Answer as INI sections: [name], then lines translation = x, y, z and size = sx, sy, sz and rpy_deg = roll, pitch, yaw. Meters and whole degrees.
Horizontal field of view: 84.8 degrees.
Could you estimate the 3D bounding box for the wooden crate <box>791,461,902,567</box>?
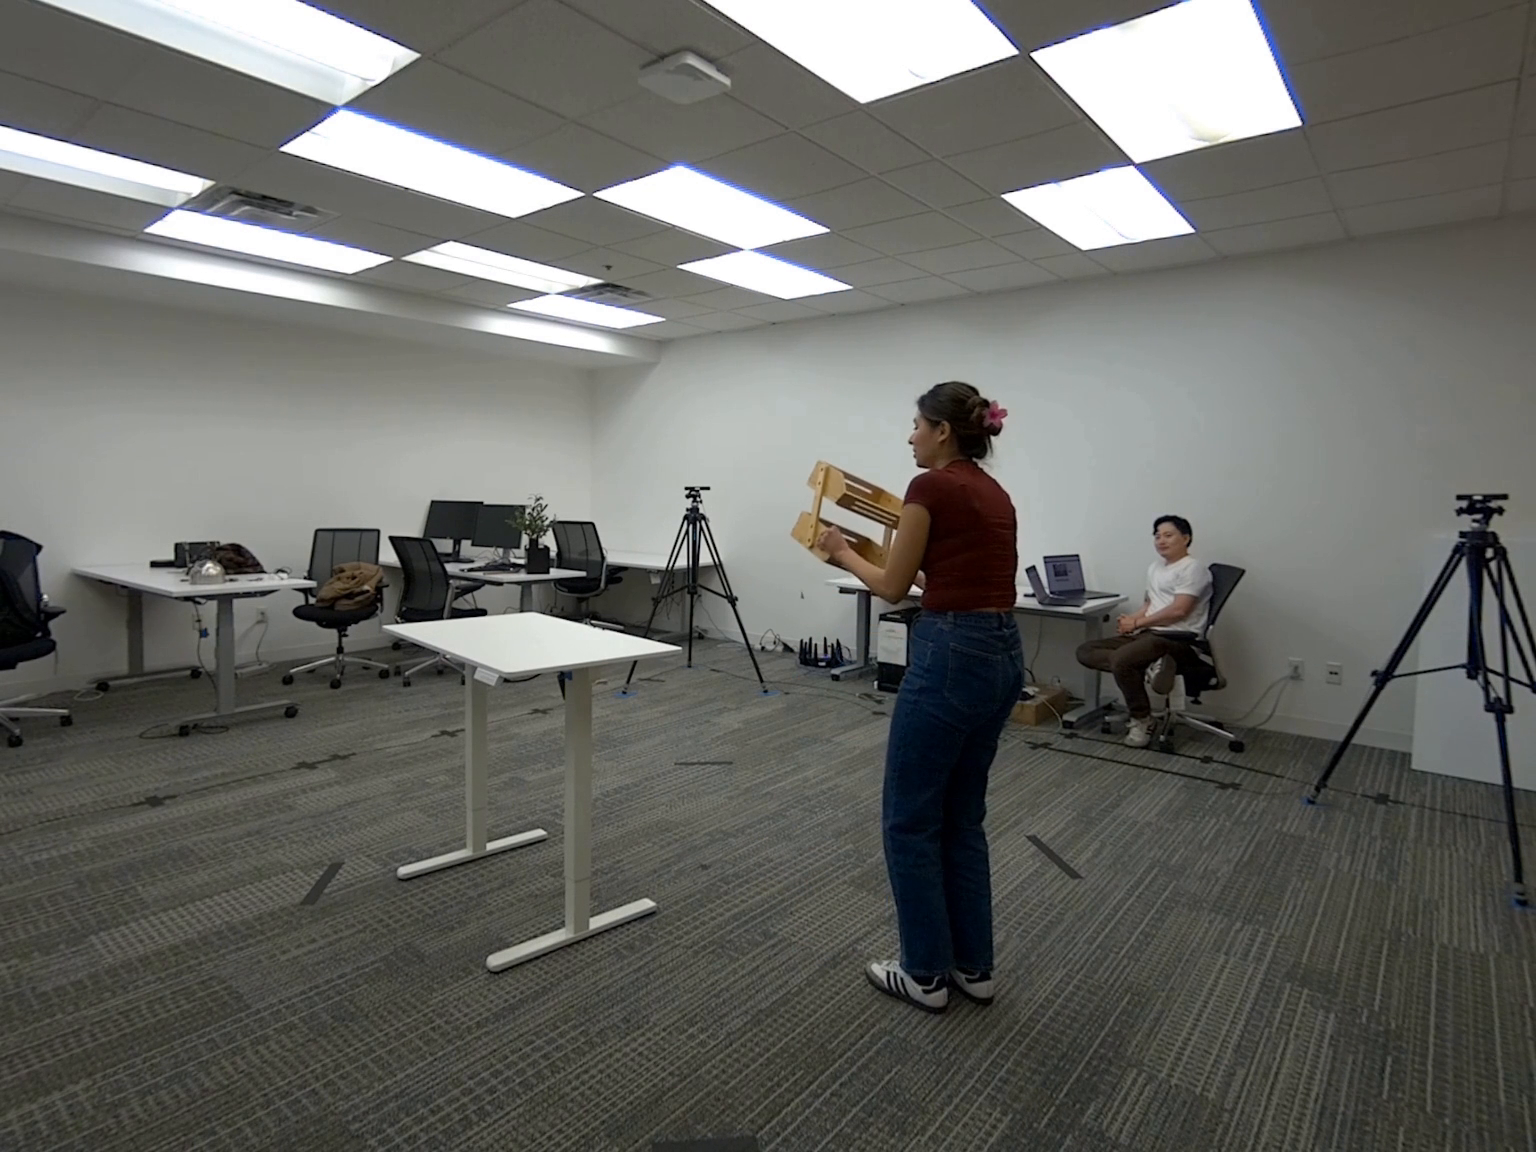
[wooden crate]
translation = 0.280, -0.158, 2.733
size = 0.313, 0.272, 0.314
rpy_deg = 20, 12, -32
